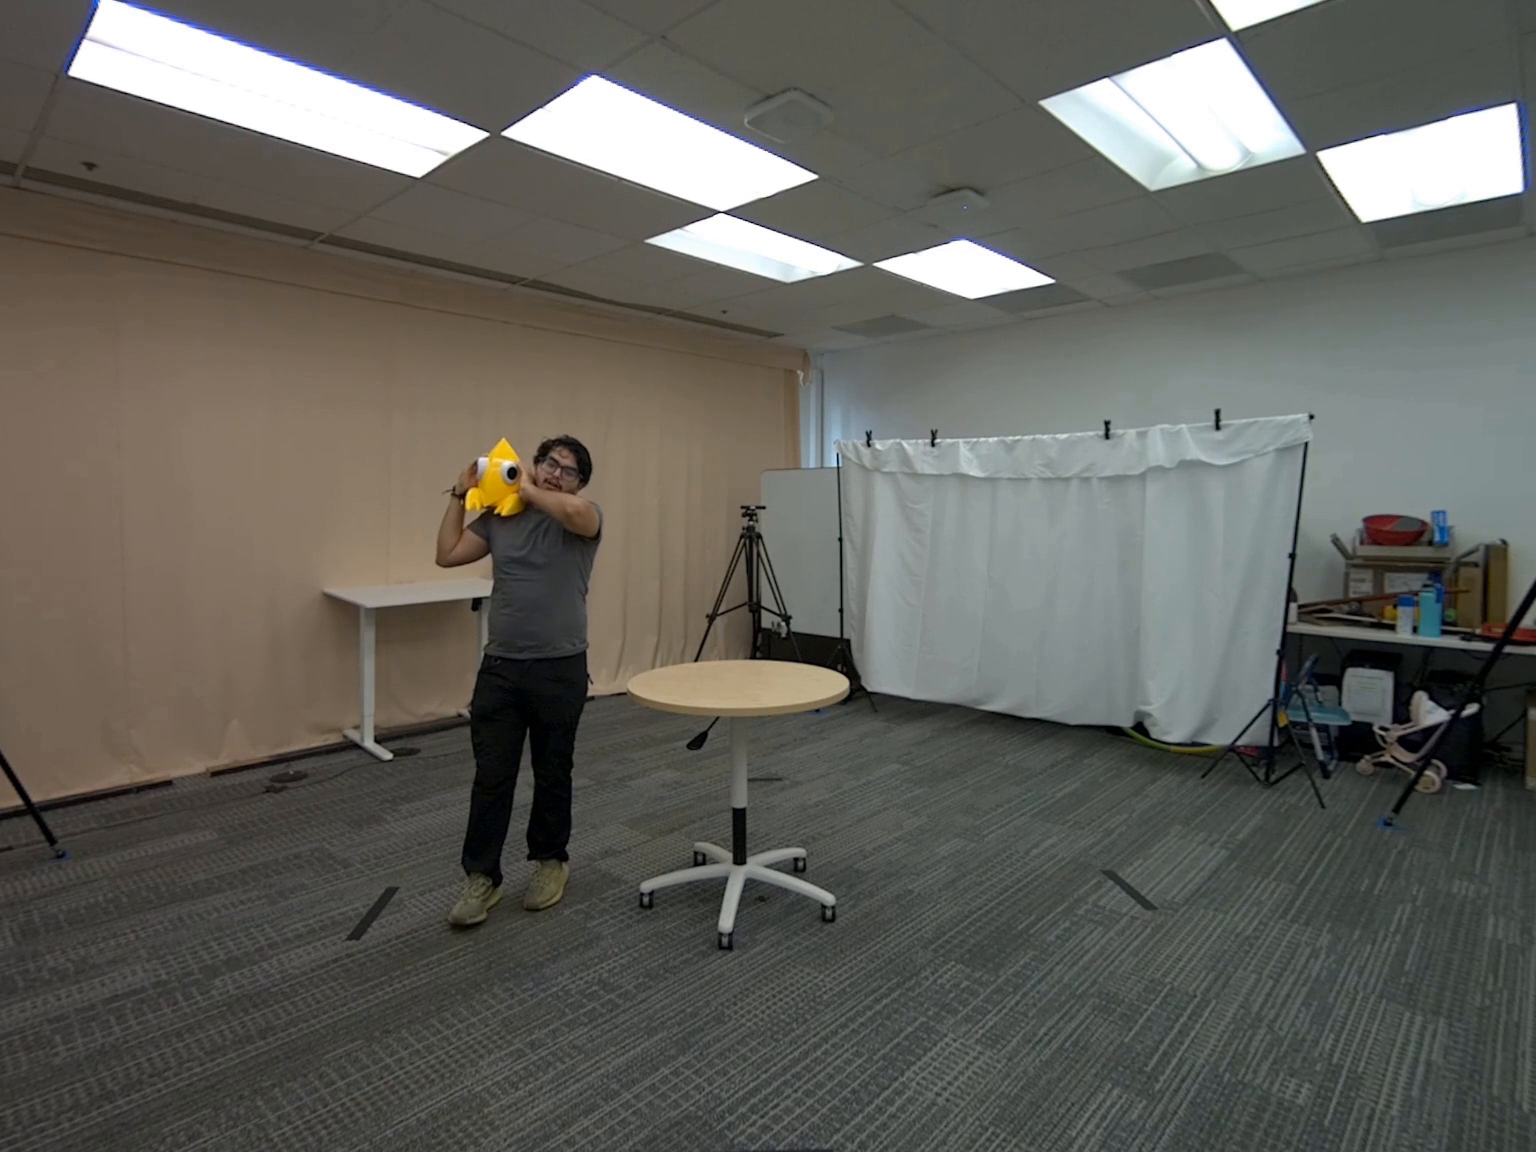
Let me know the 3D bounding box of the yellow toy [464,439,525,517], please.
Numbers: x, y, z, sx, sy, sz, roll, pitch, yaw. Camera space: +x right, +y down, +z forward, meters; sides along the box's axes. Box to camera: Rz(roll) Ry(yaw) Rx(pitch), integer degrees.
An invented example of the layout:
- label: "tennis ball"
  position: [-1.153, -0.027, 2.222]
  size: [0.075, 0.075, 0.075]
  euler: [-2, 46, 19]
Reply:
- label: "yellow toy"
  position: [-0.953, -0.356, 2.939]
  size: [0.207, 0.228, 0.193]
  euler: [10, 21, 7]
